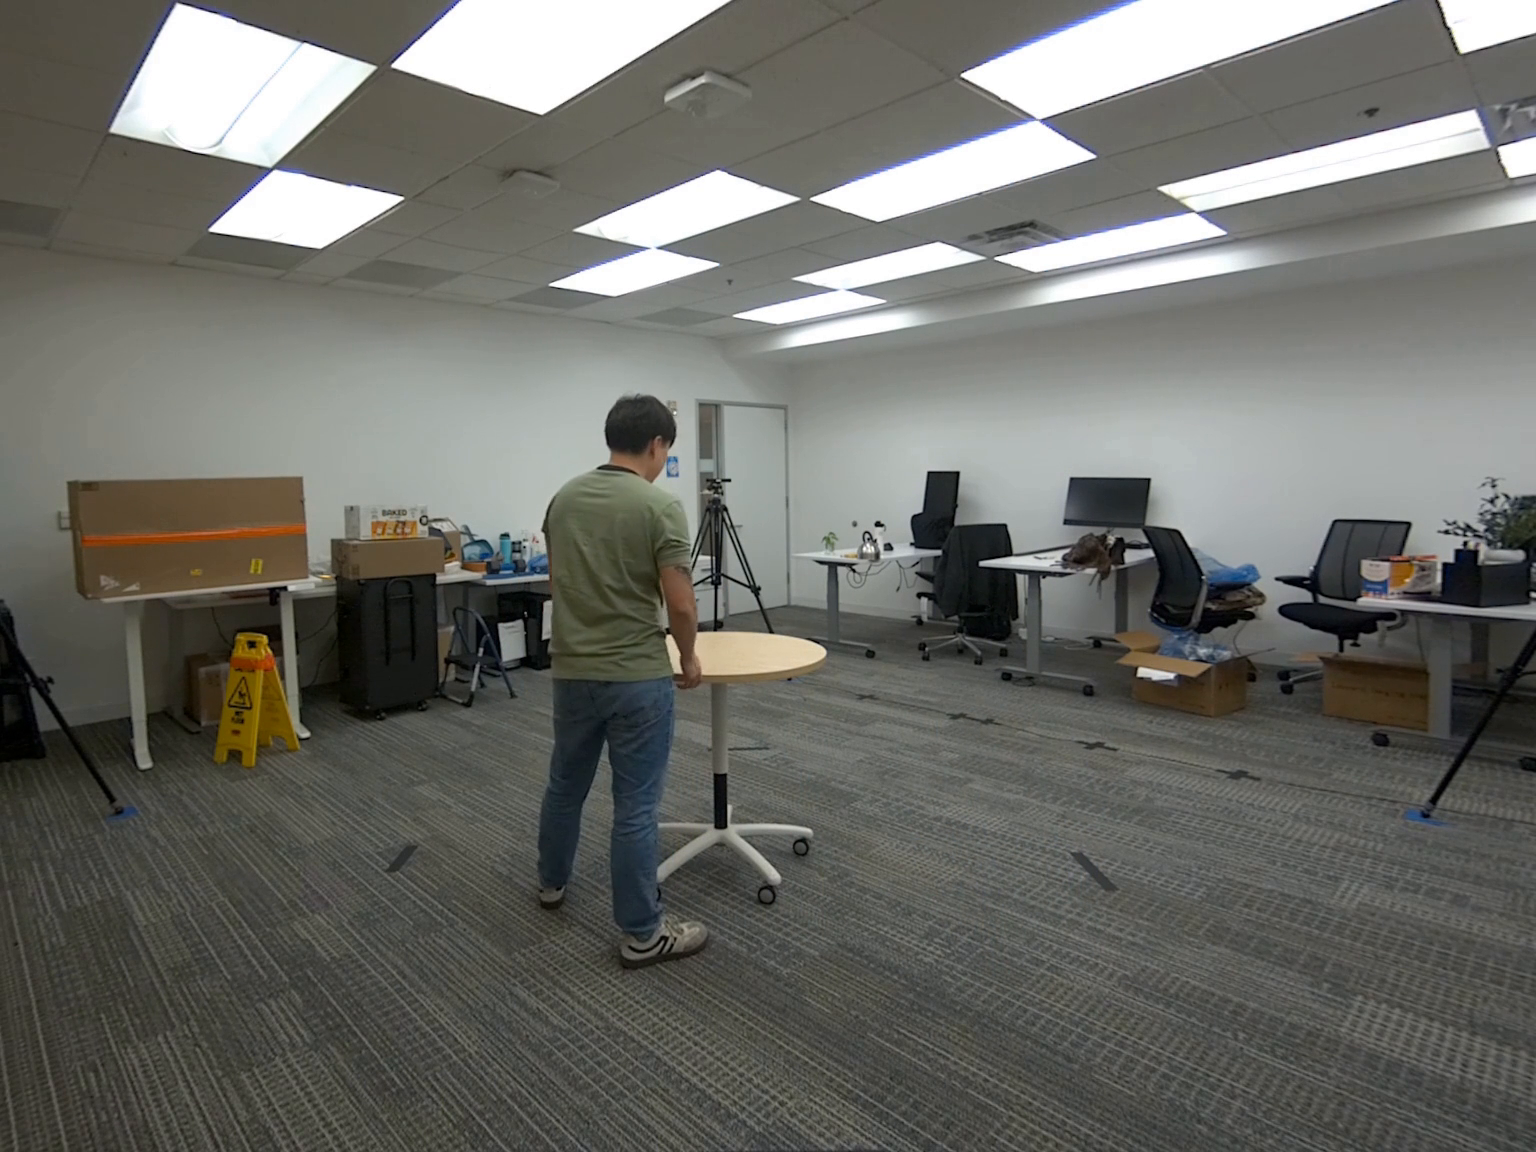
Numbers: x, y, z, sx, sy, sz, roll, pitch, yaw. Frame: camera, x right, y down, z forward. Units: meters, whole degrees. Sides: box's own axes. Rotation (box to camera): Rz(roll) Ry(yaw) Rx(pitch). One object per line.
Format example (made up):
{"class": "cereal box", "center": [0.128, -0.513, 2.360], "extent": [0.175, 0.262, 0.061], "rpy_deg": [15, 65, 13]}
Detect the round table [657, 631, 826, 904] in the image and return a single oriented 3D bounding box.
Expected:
{"class": "round table", "center": [-0.170, 0.658, 3.077], "extent": [0.763, 0.791, 0.768], "rpy_deg": [-1, 5, -2]}
